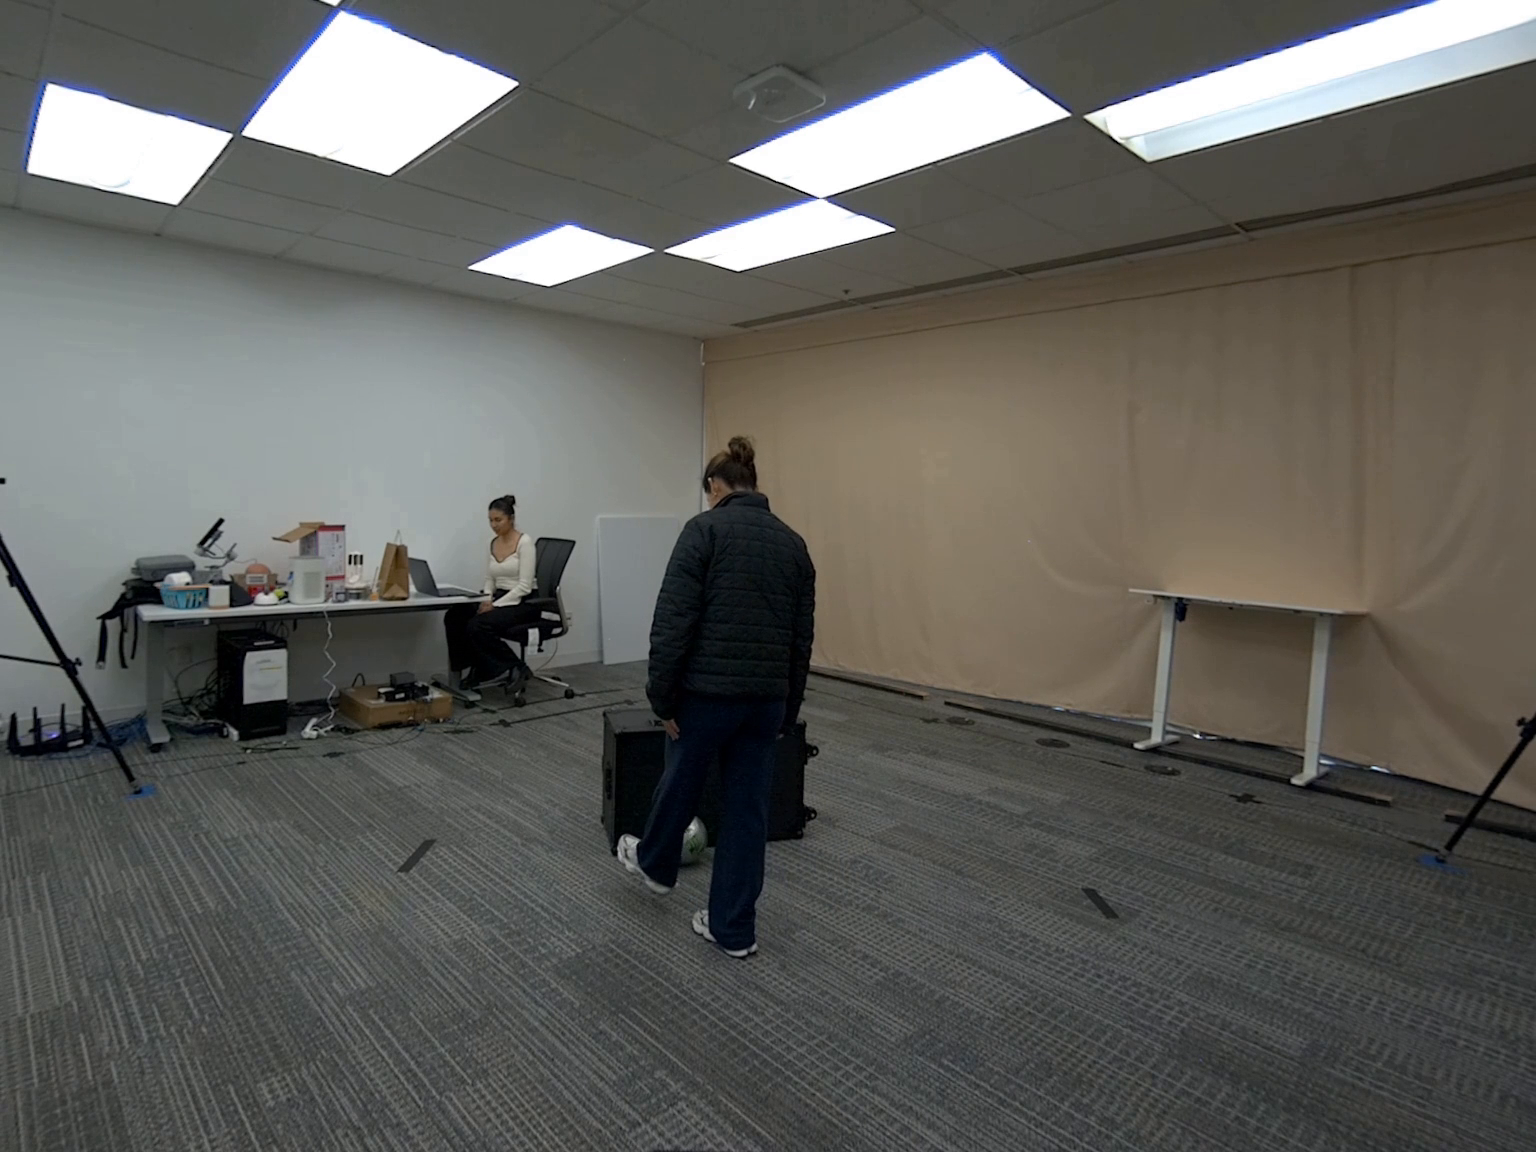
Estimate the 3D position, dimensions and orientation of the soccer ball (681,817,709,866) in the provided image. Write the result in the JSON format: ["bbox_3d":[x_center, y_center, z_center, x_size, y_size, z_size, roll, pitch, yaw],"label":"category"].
[{"bbox_3d":[-0.338,1.004,3.204,0.187,0.187,0.188,1,4,-1],"label":"soccer ball"}]
